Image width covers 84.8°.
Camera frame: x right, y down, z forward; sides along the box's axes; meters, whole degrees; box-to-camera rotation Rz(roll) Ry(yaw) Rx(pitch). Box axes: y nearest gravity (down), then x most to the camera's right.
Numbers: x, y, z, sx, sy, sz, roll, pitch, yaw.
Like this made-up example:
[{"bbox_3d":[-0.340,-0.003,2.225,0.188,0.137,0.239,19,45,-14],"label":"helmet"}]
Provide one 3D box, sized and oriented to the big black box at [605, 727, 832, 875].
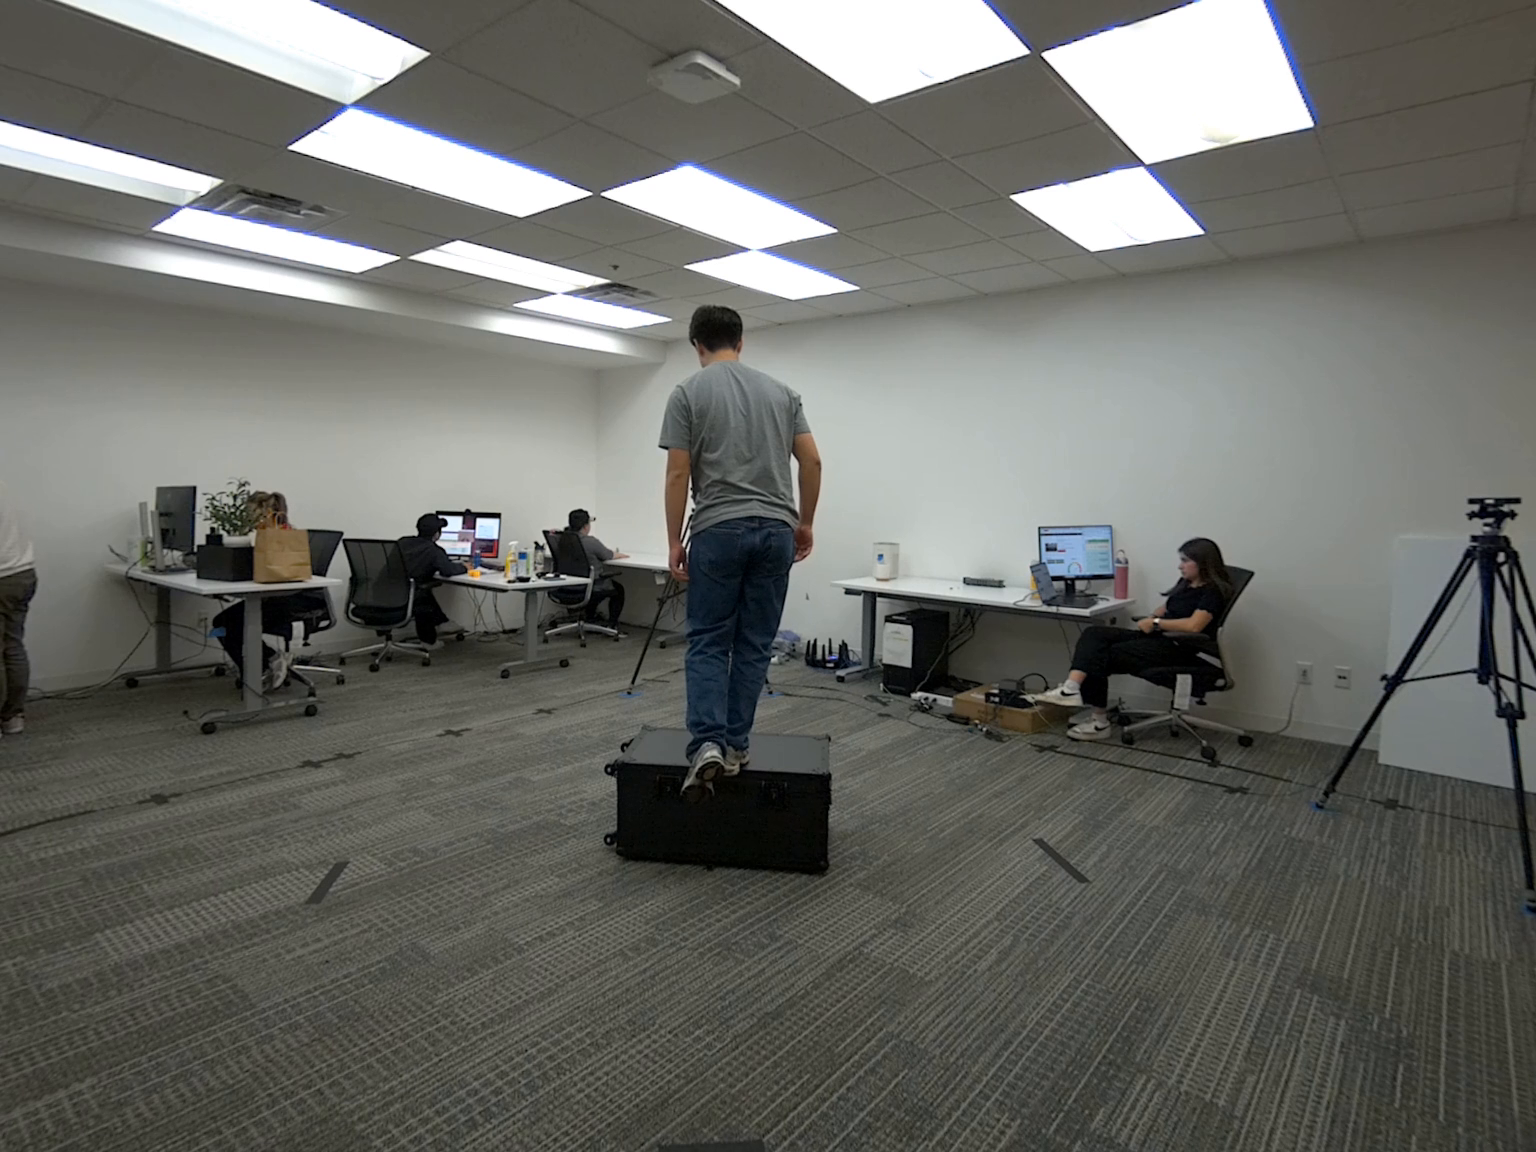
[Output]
[{"bbox_3d":[-0.198,0.850,3.337,0.868,0.394,0.520,2,5,6],"label":"big black box"}]
